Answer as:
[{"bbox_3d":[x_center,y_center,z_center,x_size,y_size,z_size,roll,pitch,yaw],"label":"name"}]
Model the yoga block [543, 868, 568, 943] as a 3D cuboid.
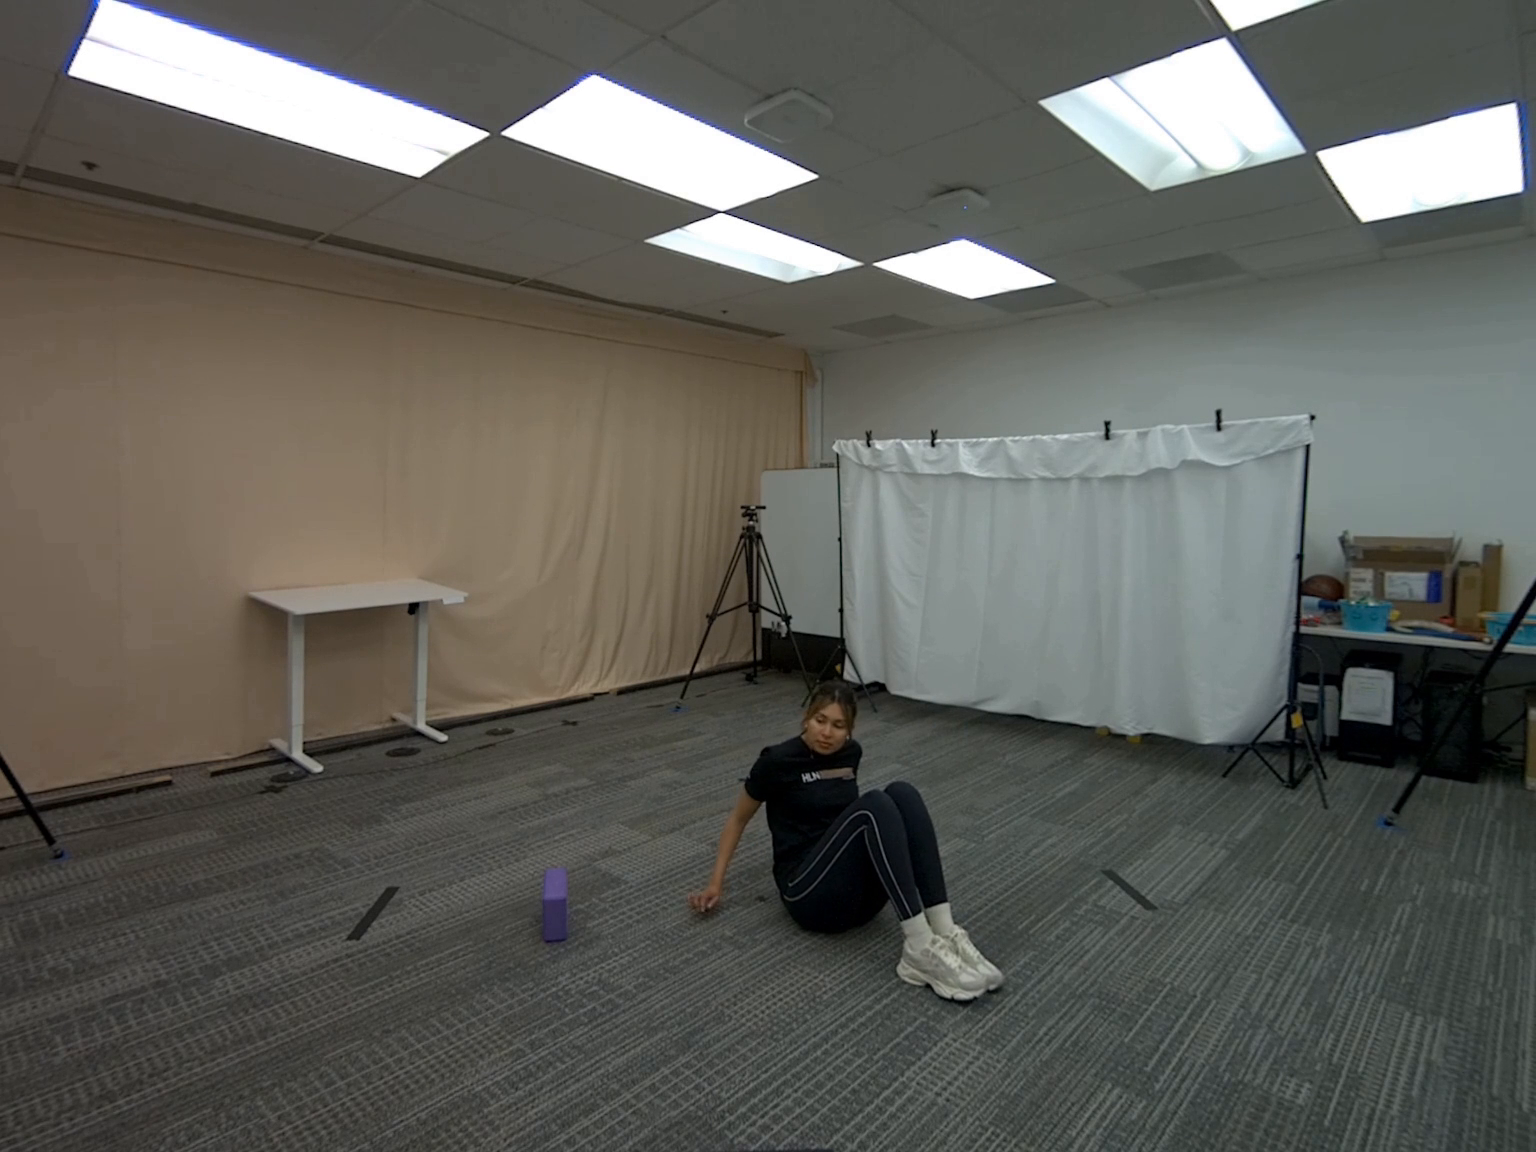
[{"bbox_3d":[-0.710,1.093,2.804,0.075,0.148,0.233,-3,5,-13],"label":"yoga block"}]
